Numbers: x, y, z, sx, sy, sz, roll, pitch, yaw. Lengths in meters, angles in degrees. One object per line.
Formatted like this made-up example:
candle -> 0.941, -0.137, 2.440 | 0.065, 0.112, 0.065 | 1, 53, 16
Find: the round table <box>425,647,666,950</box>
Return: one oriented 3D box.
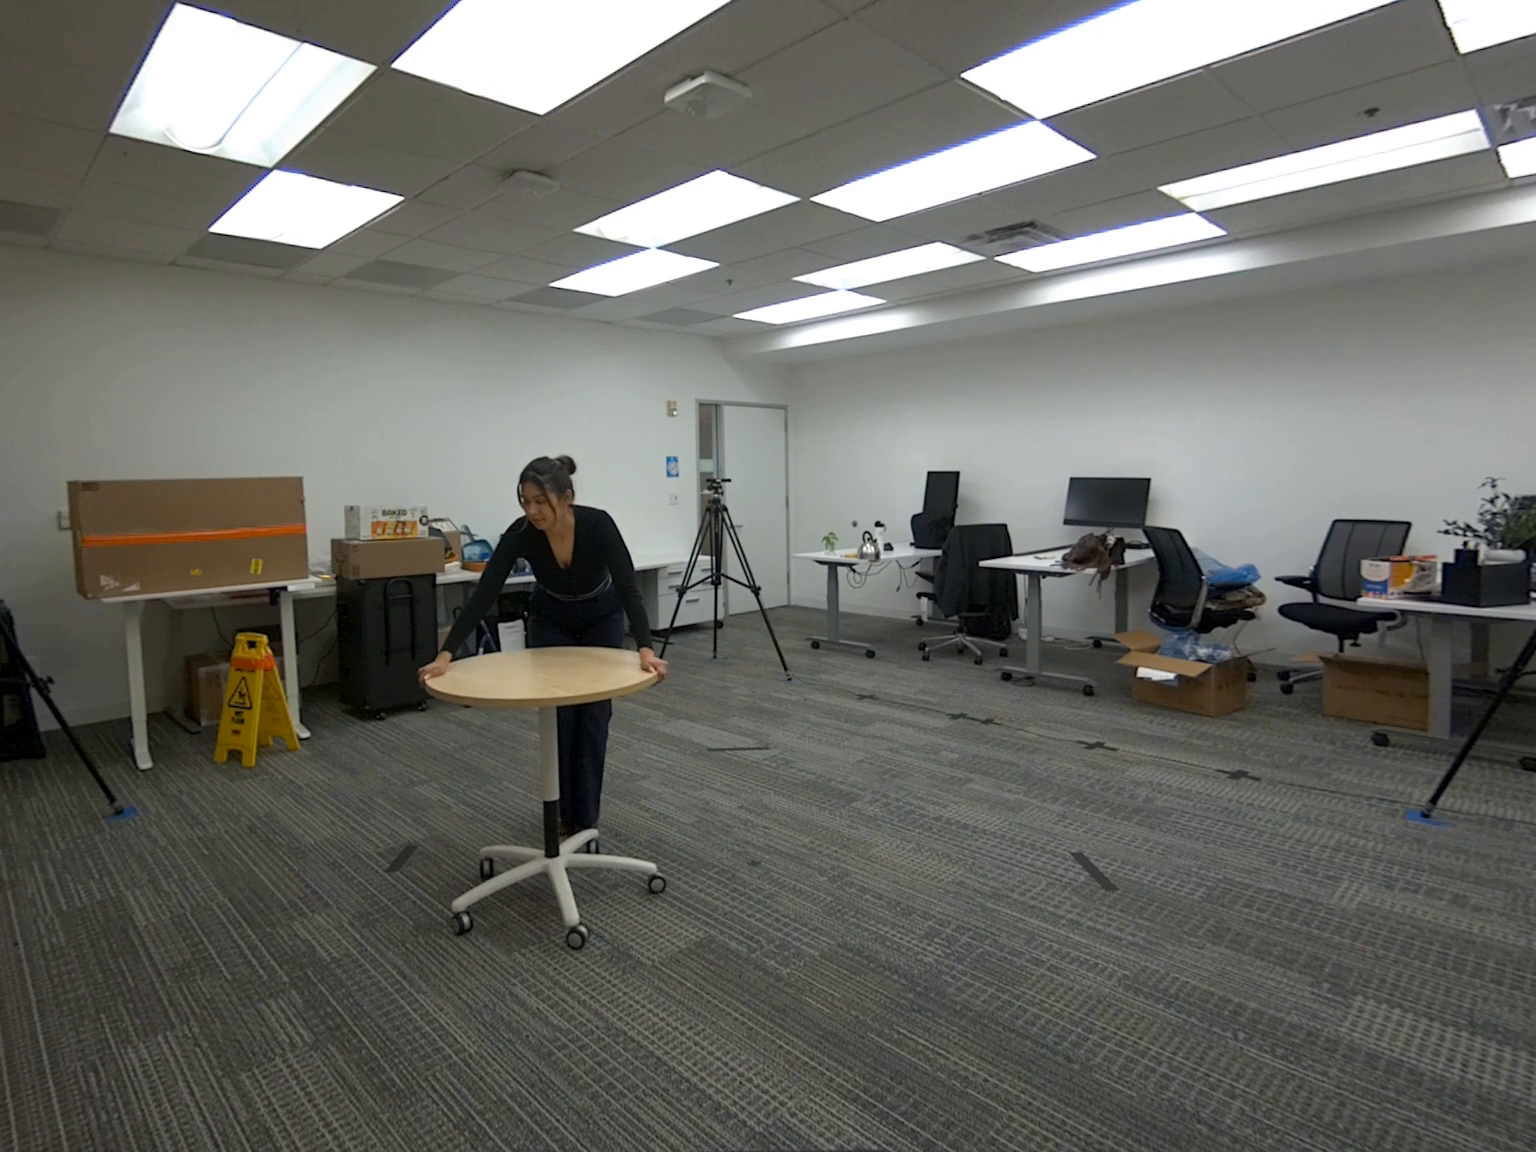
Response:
round table -> -0.722, 0.702, 2.862 | 0.763, 0.791, 0.768 | -2, 5, -2
